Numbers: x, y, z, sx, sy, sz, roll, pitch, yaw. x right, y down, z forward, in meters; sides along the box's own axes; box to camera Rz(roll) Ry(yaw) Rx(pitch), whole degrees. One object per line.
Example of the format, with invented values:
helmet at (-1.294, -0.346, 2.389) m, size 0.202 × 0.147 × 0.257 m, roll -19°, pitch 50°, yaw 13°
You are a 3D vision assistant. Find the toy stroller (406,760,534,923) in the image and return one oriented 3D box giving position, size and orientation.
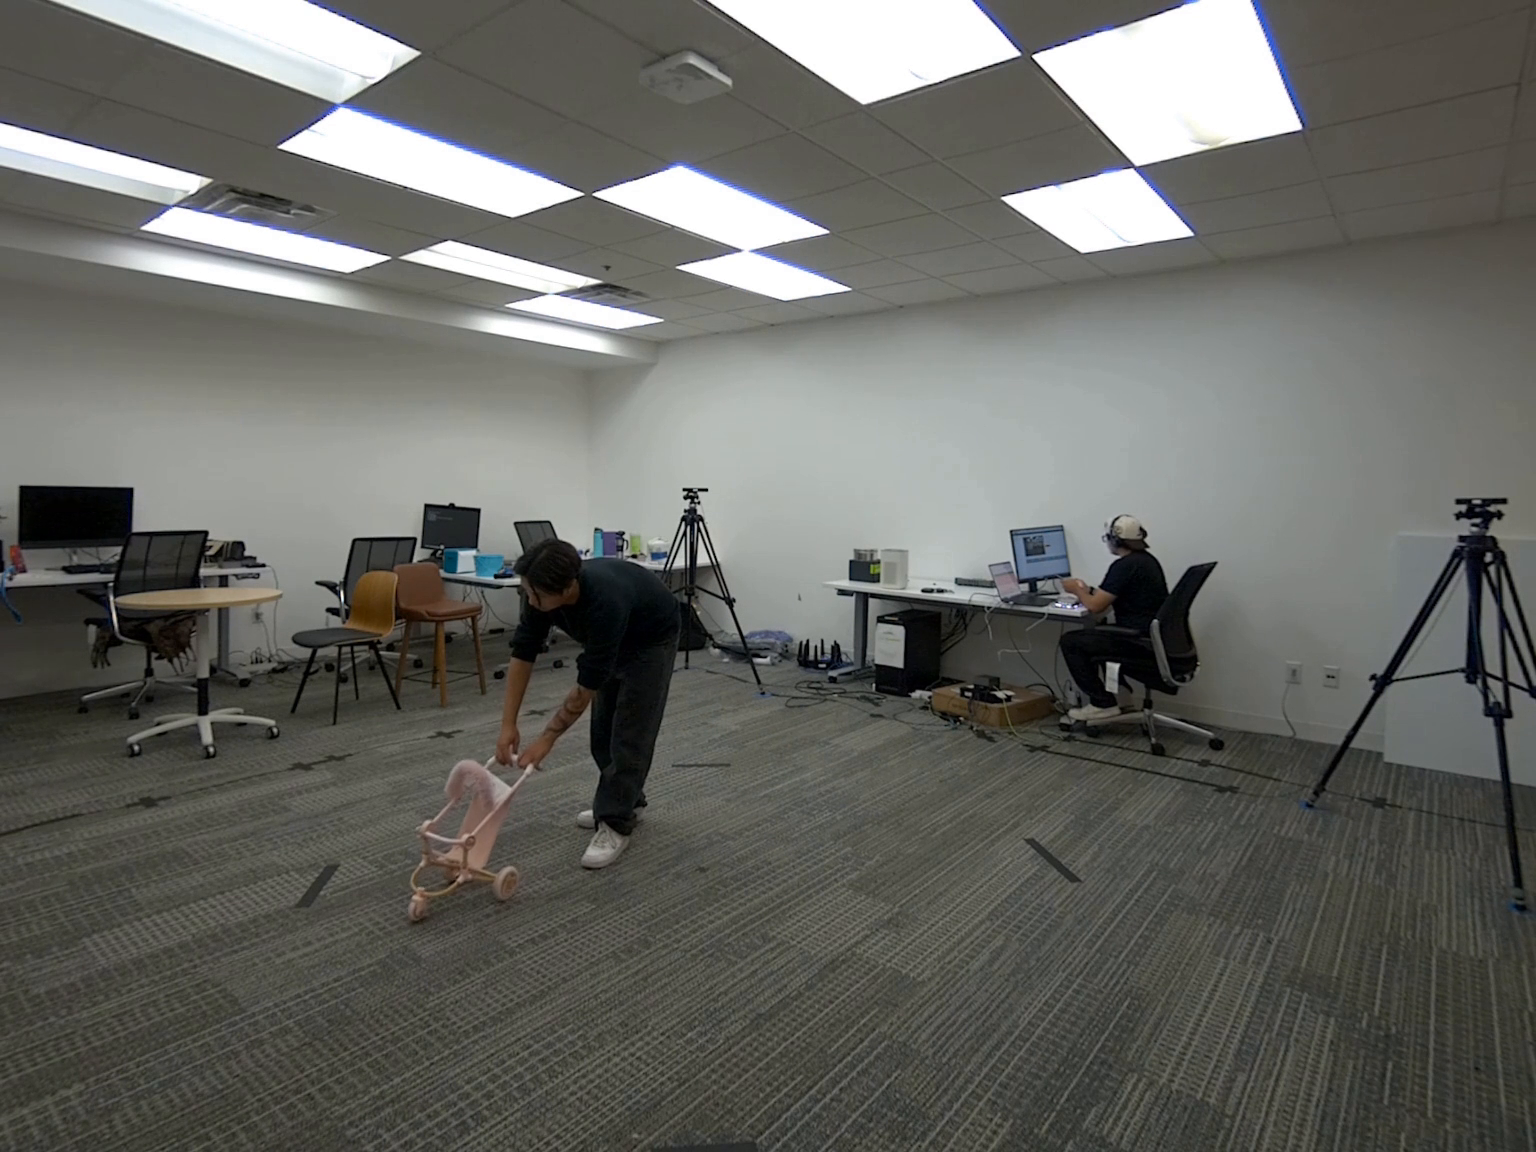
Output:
toy stroller at (-1.023, 0.857, 2.868) m, size 0.290 × 0.539 × 0.328 m, roll 4°, pitch -12°, yaw 35°
